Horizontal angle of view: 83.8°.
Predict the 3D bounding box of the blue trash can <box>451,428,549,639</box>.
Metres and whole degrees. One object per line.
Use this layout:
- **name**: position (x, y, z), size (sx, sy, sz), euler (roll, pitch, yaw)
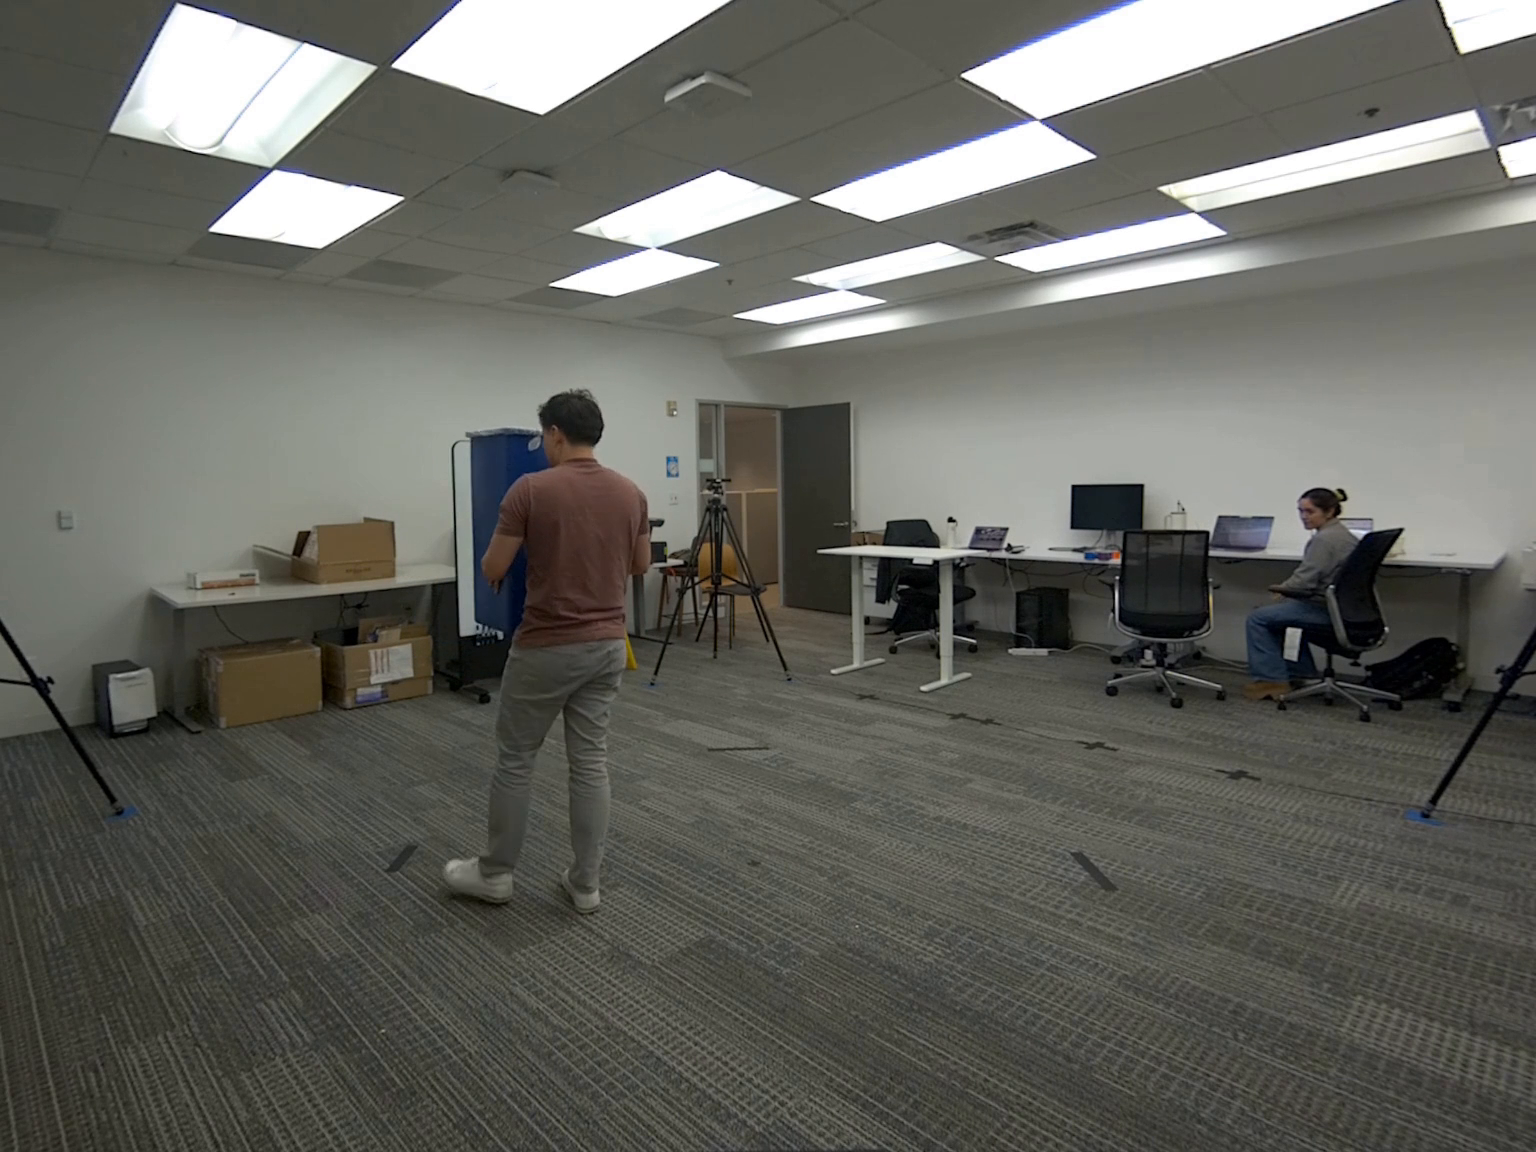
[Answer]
- **blue trash can**: position (-0.888, -0.176, 3.156), size (0.367, 0.712, 0.386), euler (0, 4, -41)
